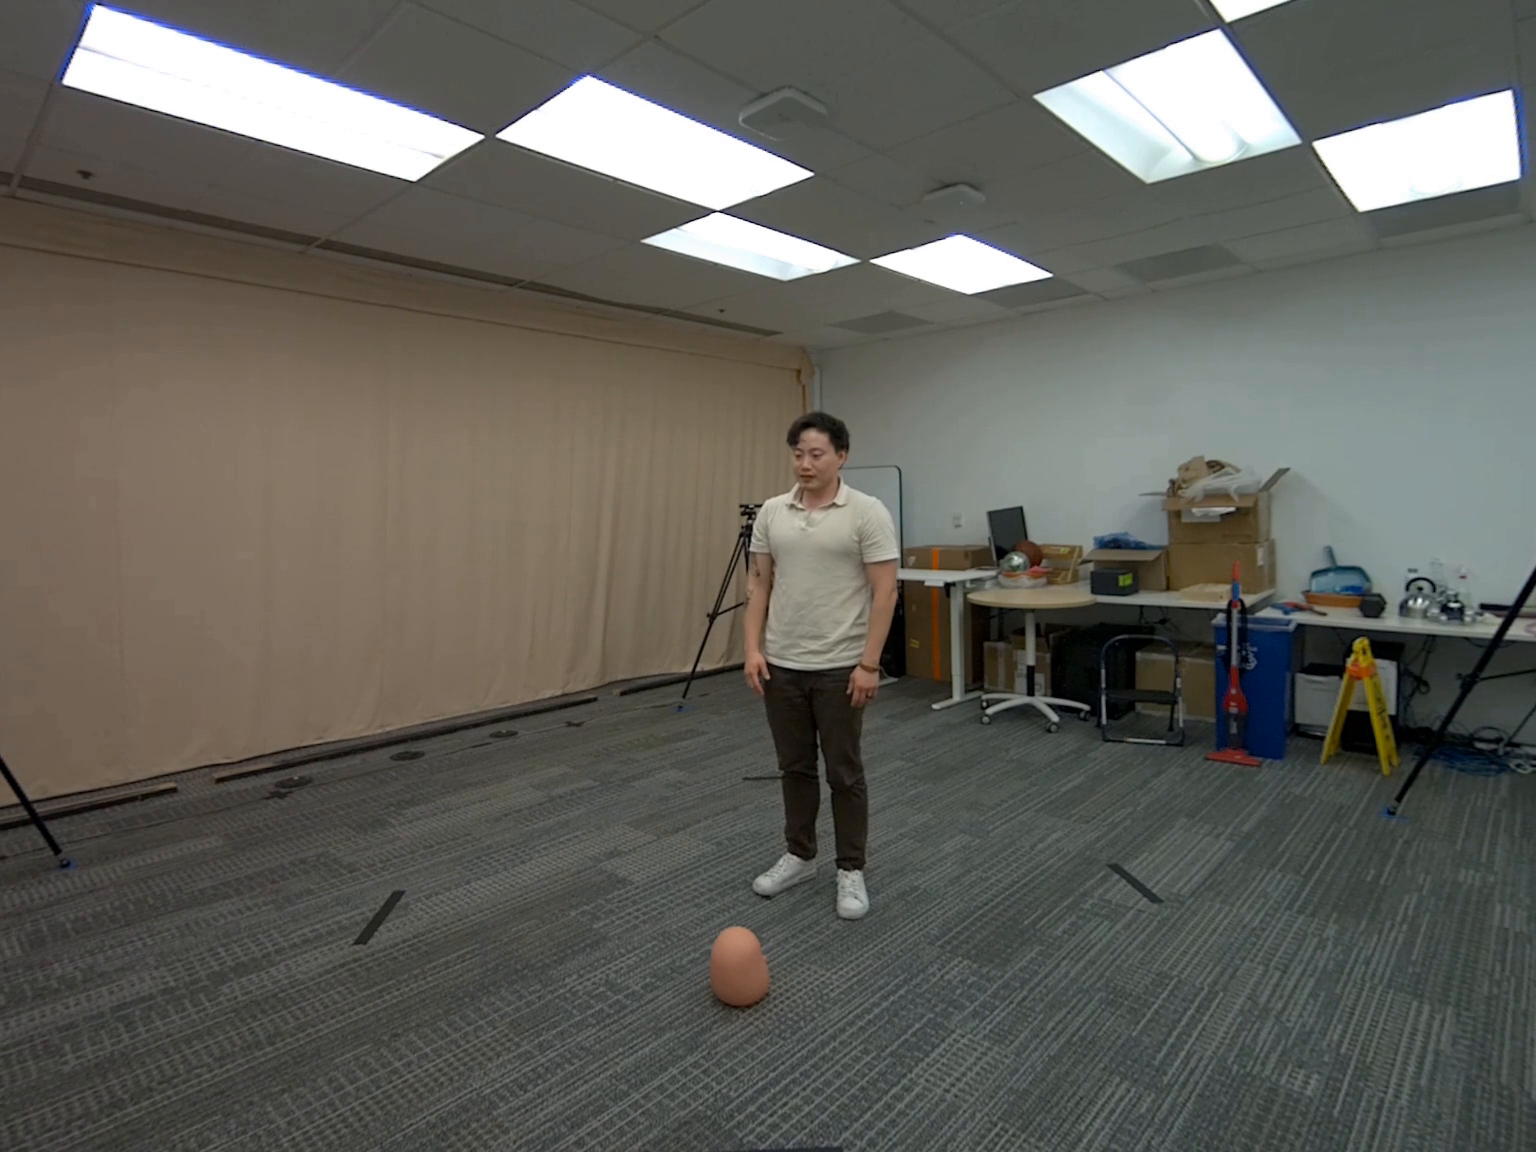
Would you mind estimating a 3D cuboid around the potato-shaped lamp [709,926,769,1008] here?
[{"bbox_3d":[-0.079,1.096,2.370,0.170,0.197,0.166,2,5,37],"label":"potato-shaped lamp"}]
